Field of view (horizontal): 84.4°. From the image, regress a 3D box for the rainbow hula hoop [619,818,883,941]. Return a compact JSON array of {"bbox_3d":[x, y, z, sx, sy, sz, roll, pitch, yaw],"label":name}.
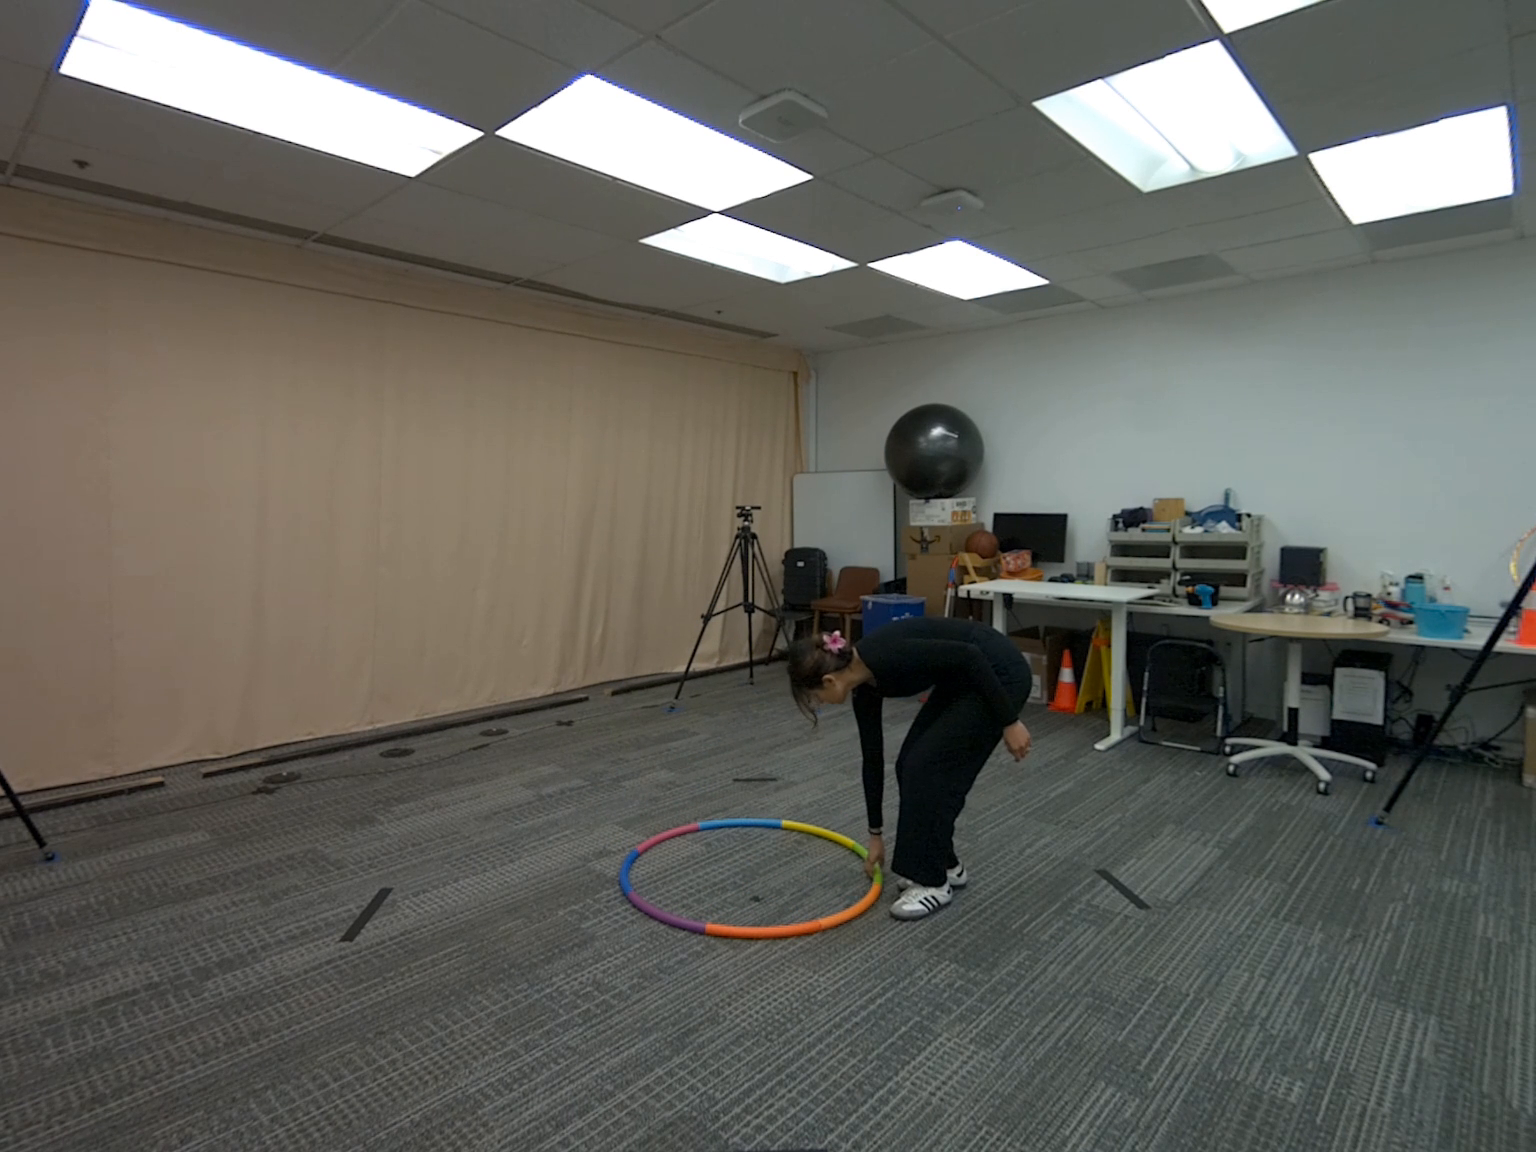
[{"bbox_3d":[-0.061,1.094,3.181,0.978,0.035,0.982,-1,5,-2],"label":"rainbow hula hoop"}]
